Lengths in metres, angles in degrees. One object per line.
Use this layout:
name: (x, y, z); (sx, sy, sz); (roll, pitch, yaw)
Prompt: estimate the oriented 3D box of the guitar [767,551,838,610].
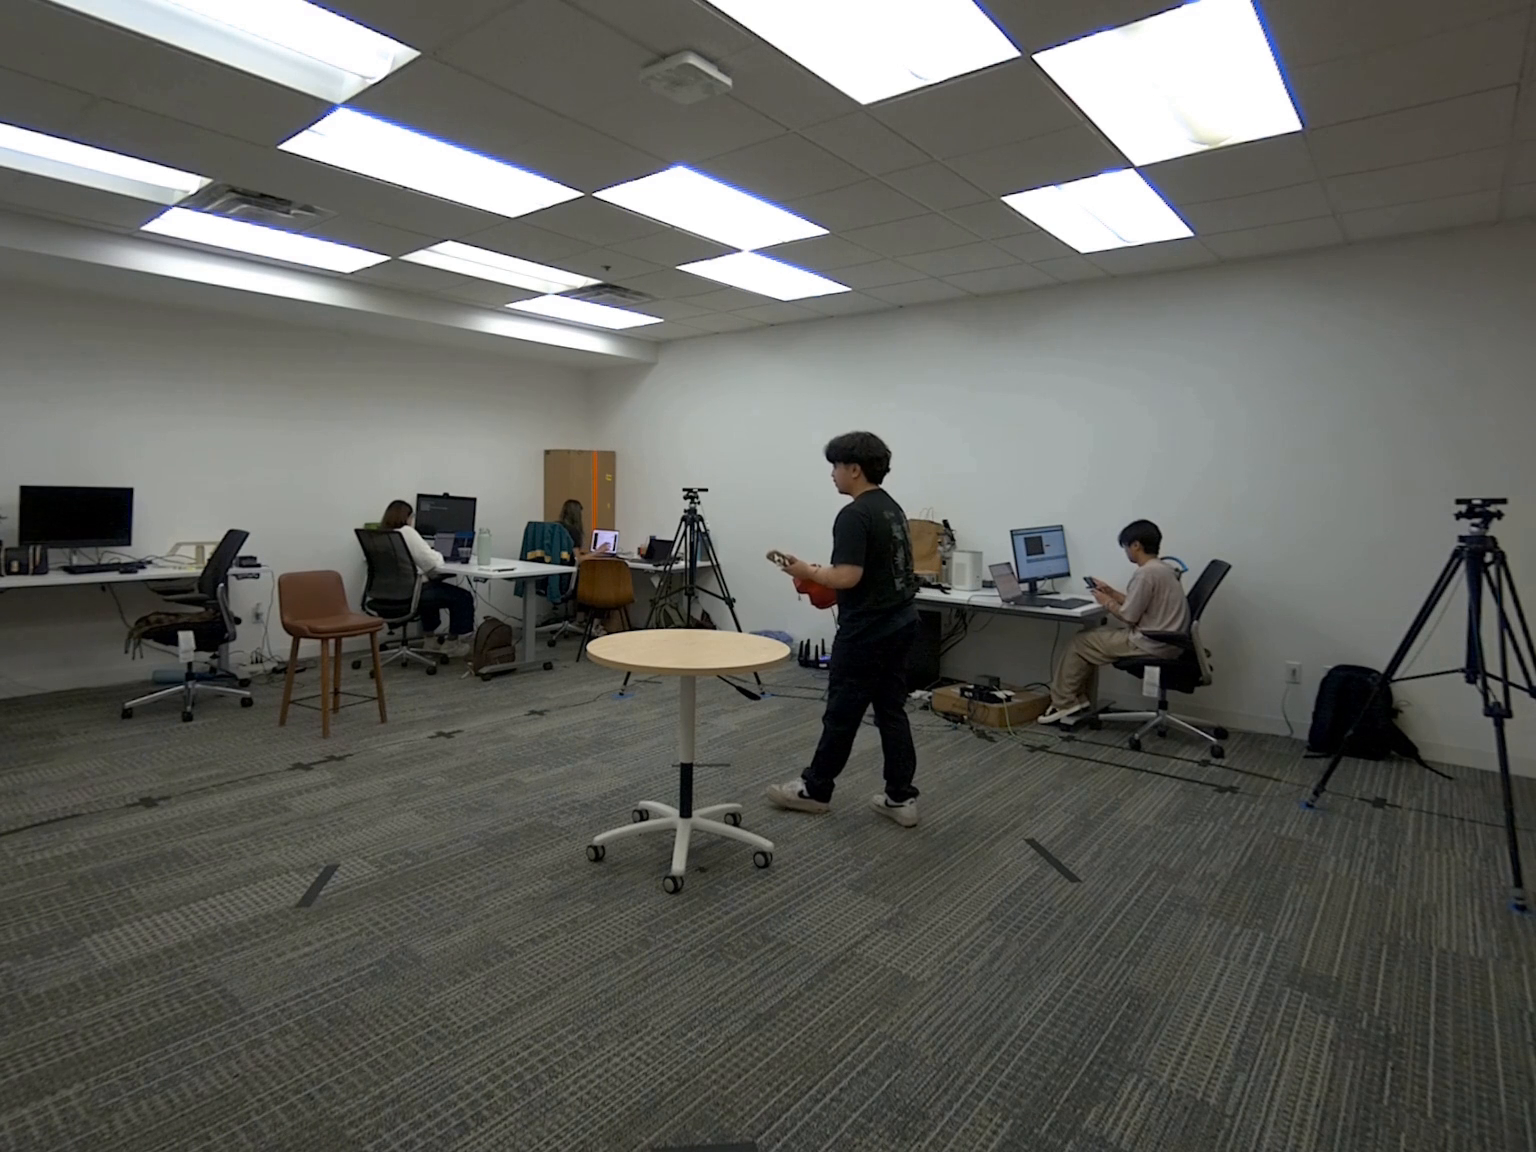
guitar: (0.123, 0.010, 3.750); (0.479, 0.073, 0.193); (20, -52, -38)
